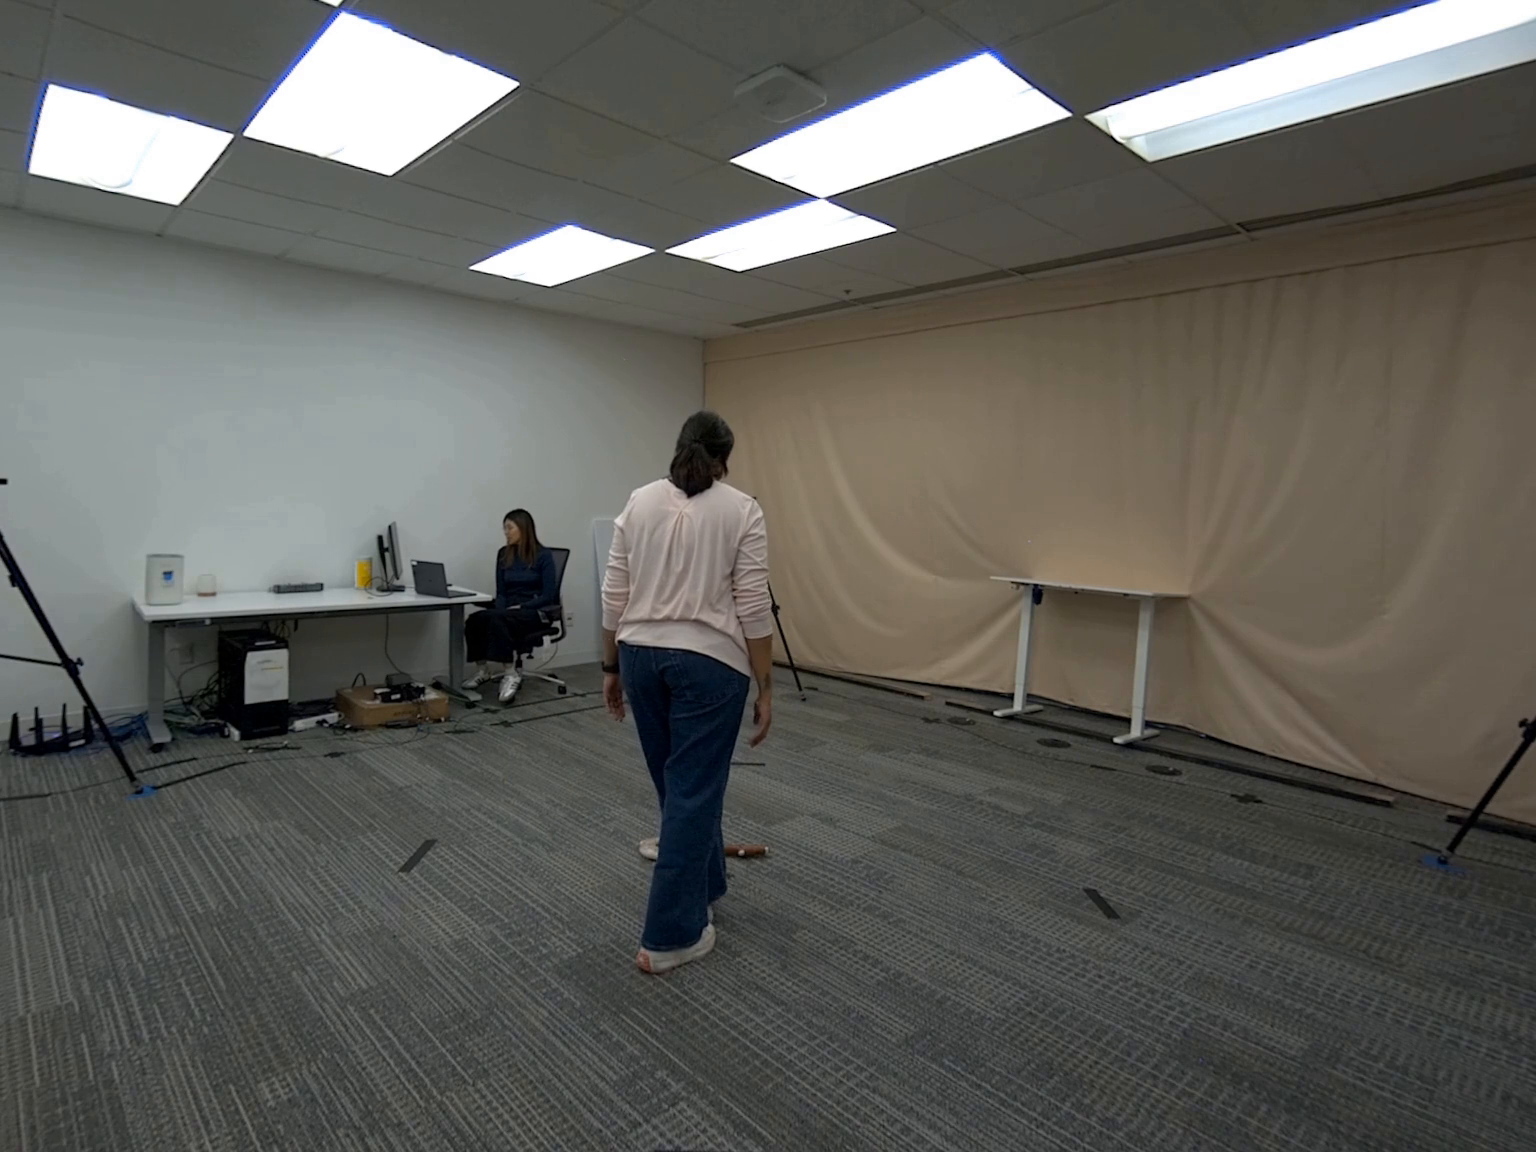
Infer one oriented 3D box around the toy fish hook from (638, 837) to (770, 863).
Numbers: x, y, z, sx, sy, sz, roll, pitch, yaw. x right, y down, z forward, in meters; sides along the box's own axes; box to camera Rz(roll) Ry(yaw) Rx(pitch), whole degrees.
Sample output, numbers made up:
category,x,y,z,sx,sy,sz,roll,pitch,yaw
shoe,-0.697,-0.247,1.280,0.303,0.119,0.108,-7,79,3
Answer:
category,x,y,z,sx,sy,sz,roll,pitch,yaw
toy fish hook,-0.256,1.060,3.313,0.505,0.048,0.226,1,6,-5
